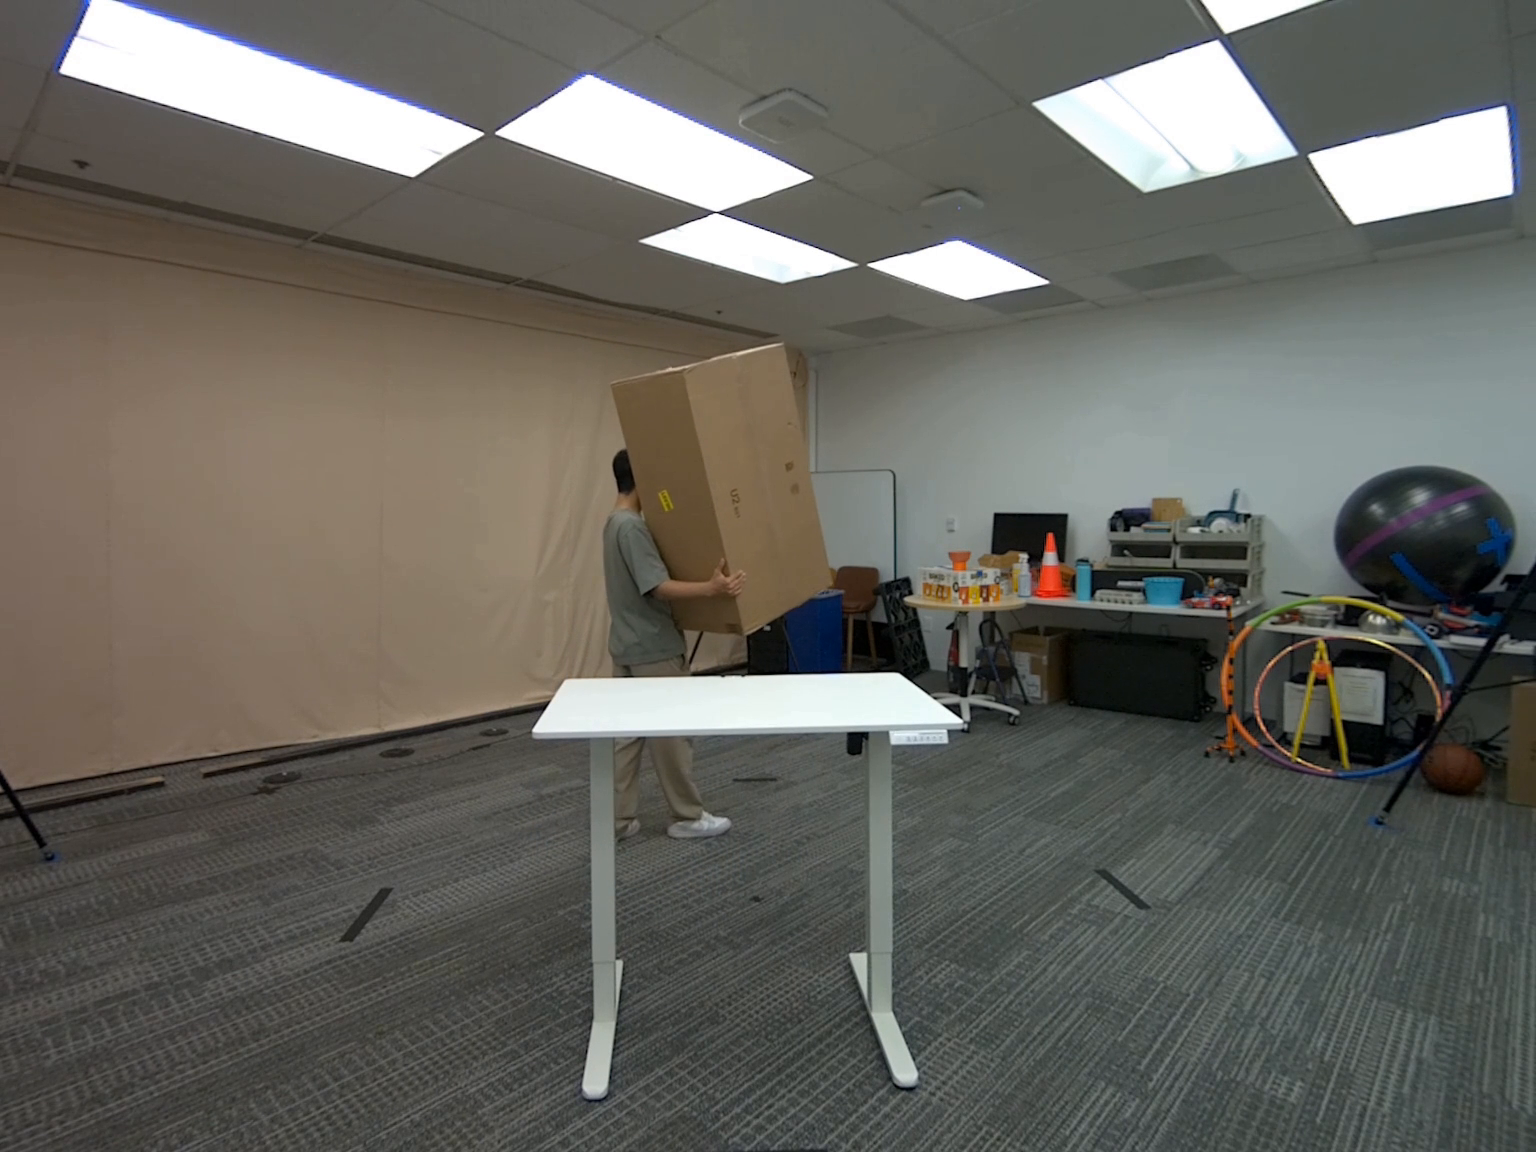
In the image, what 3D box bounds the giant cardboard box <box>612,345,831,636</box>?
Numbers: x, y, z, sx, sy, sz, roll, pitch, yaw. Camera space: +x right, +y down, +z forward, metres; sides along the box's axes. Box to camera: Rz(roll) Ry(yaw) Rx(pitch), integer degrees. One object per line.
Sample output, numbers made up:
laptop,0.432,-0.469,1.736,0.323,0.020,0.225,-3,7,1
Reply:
giant cardboard box,-0.164,-0.348,3.401,0.440,1.014,0.565,0,19,44
